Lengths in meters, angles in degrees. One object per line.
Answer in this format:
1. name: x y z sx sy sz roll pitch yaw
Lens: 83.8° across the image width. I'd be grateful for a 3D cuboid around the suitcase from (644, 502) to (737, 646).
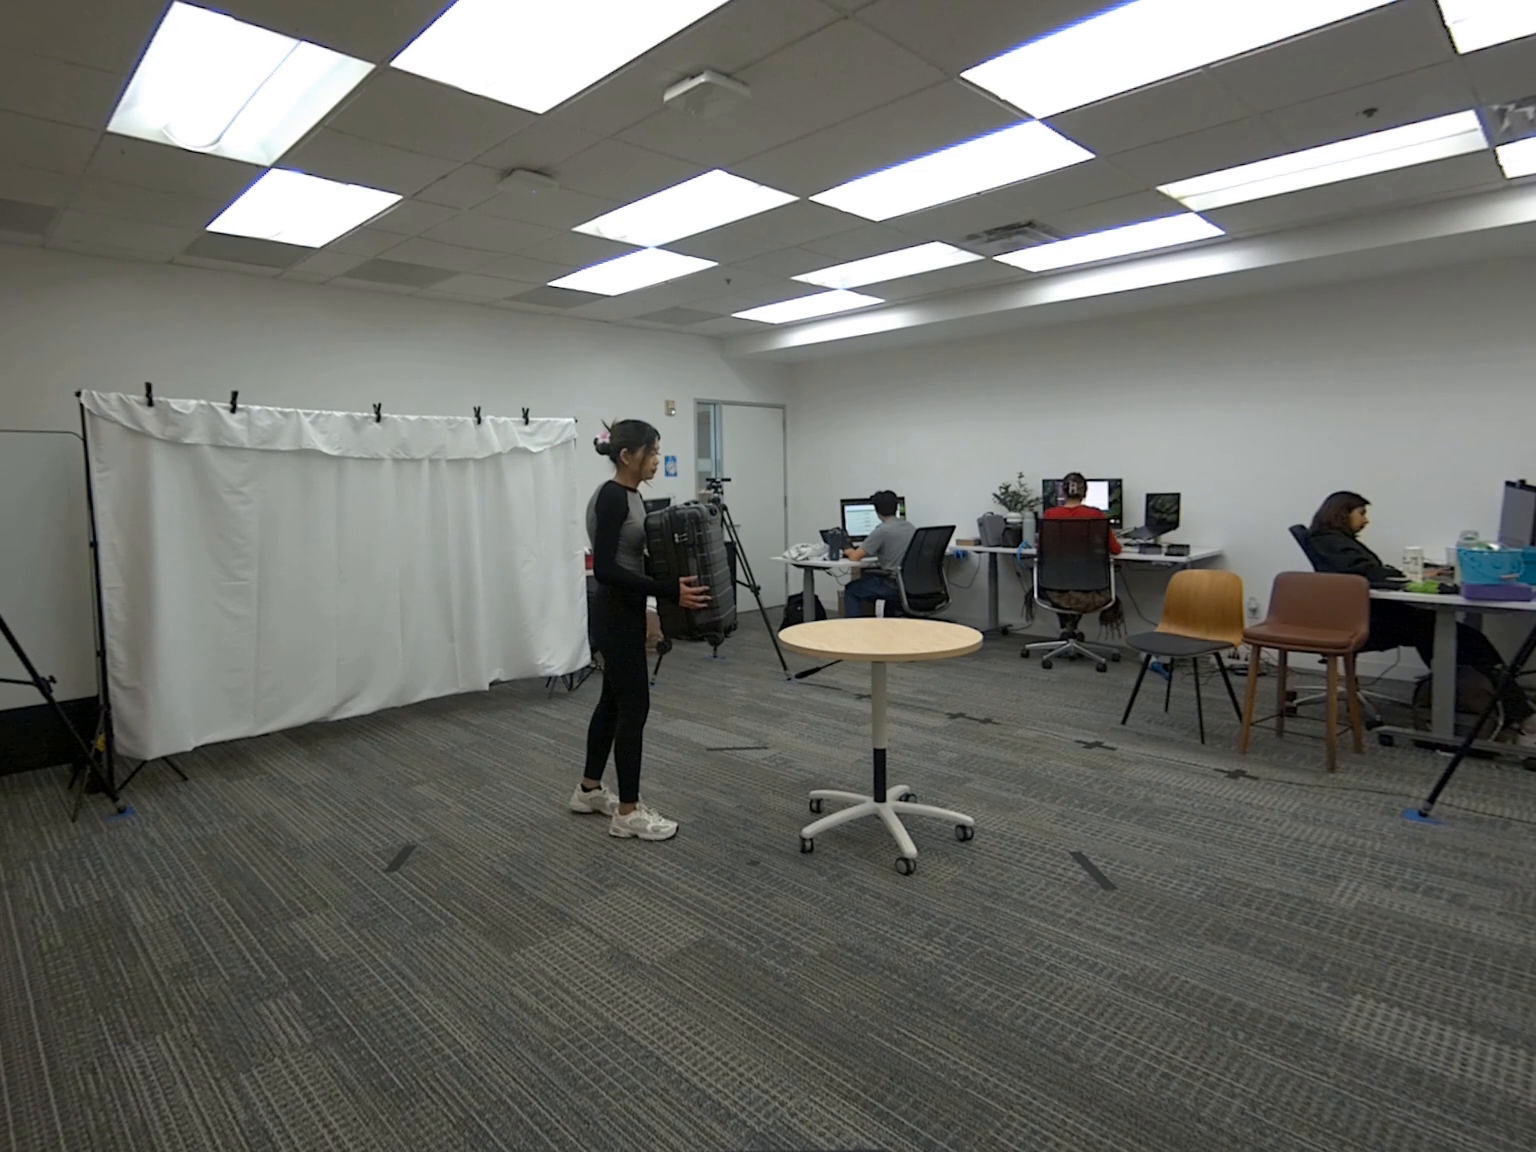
1. suitcase: -0.301 -0.019 3.341 0.250 0.547 0.374 -7 4 9
